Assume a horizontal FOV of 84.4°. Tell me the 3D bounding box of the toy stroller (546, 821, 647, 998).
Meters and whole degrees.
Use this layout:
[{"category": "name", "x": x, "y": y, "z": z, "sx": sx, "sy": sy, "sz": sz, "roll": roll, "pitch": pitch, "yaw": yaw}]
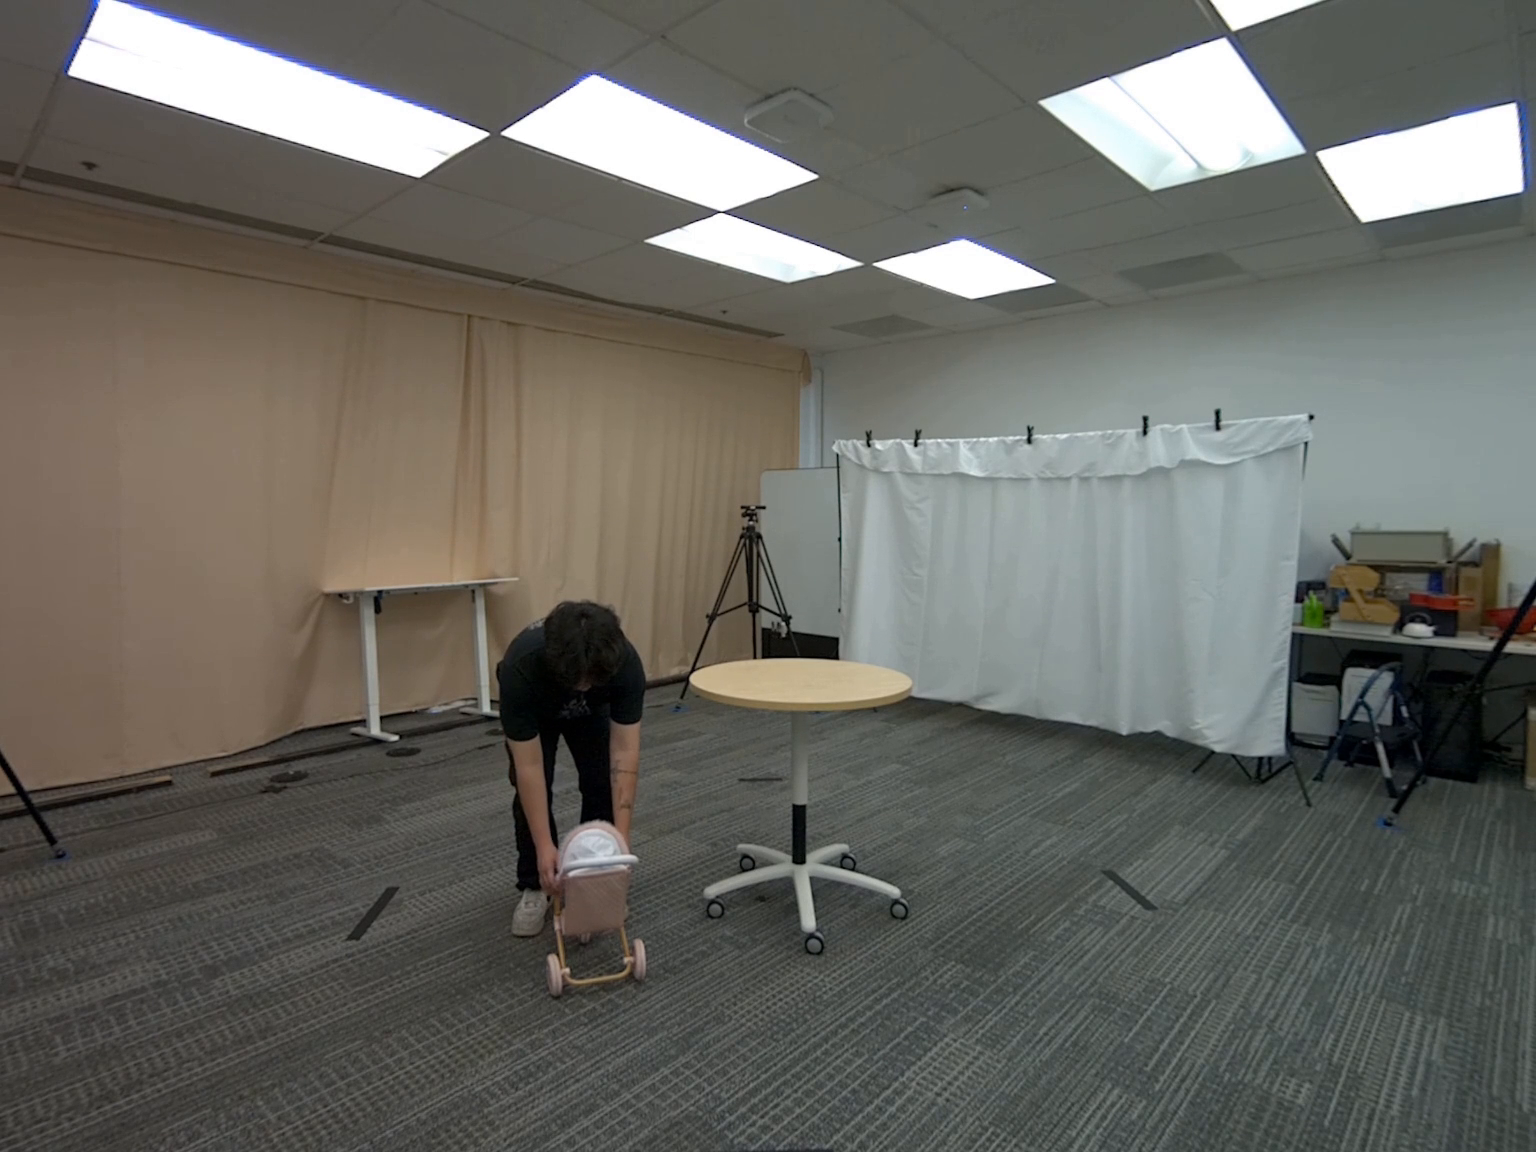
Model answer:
[{"category": "toy stroller", "x": -0.517, "y": 0.962, "z": 2.504, "sx": 0.277, "sy": 0.530, "sz": 0.350, "roll": -1, "pitch": 18, "yaw": -15}]
